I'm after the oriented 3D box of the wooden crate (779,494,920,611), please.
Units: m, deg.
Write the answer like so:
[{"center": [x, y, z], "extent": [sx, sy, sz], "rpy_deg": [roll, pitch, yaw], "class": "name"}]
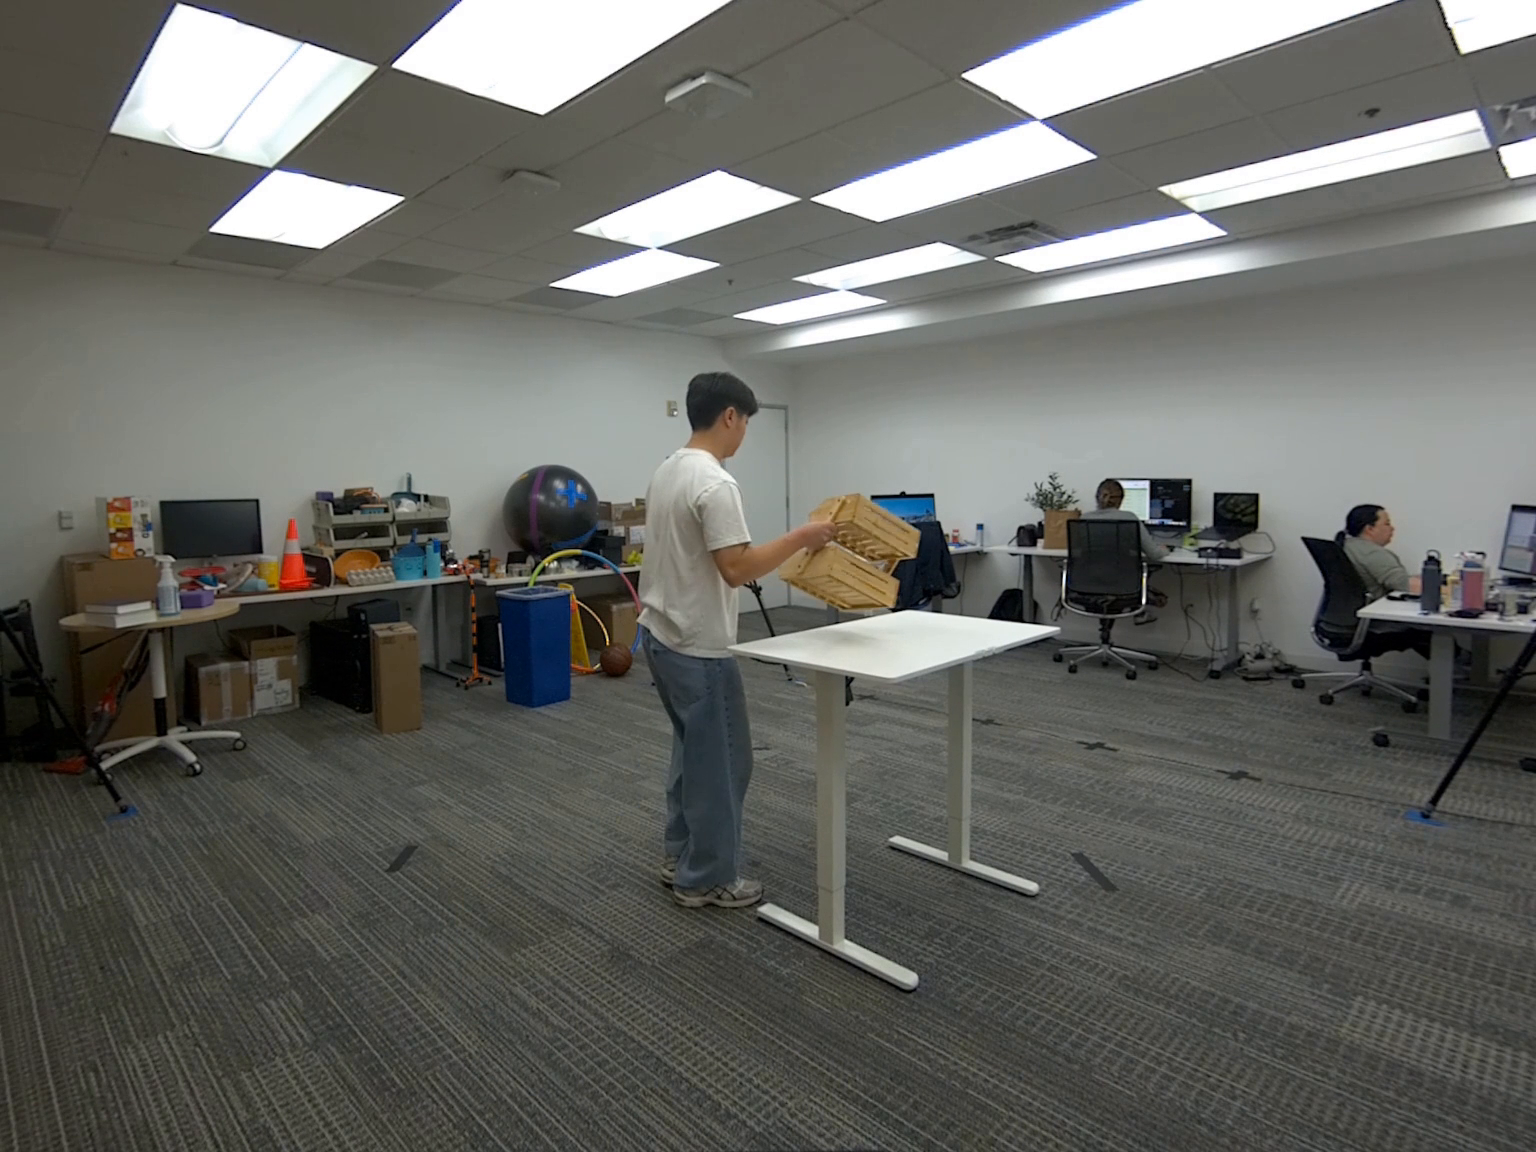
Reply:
[{"center": [0.253, -0.077, 2.753], "extent": [0.313, 0.276, 0.309], "rpy_deg": [27, -22, -34], "class": "wooden crate"}]
